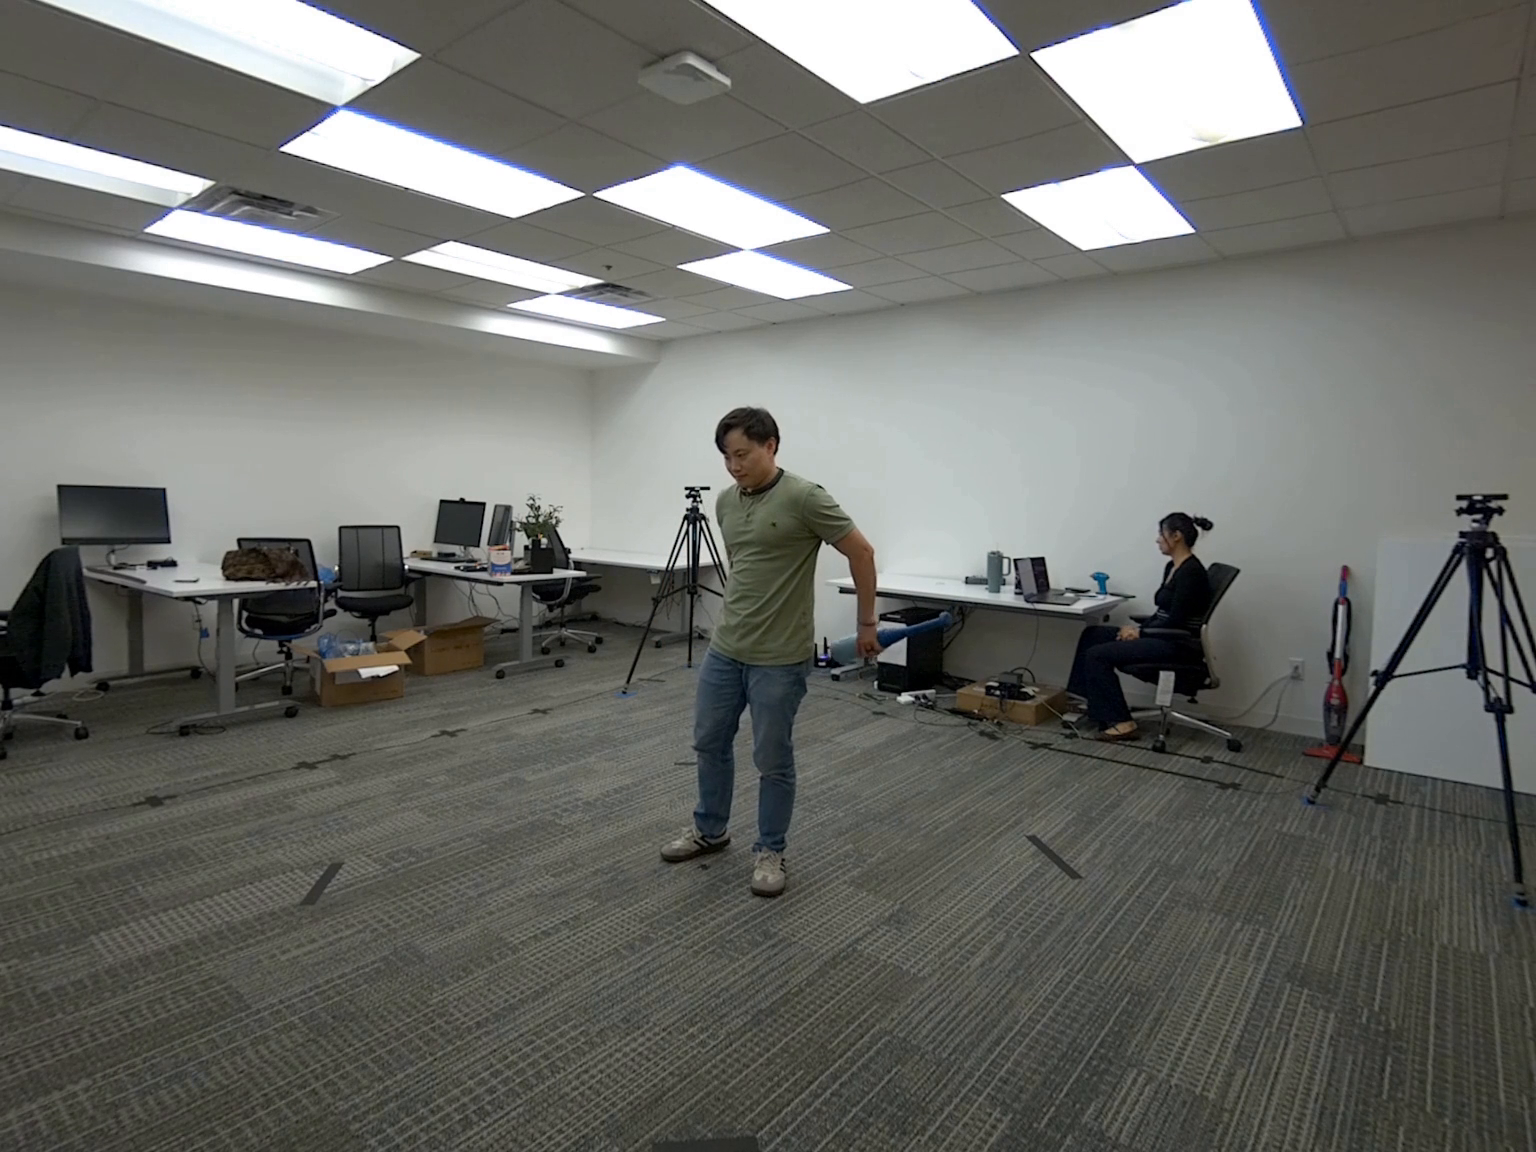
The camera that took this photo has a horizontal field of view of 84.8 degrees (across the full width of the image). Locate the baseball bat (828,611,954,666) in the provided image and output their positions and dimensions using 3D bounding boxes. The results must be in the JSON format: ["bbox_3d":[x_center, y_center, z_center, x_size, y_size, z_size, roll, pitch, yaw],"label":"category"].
[{"bbox_3d":[0.392,0.205,2.899,0.086,0.090,0.552,-2,-13,-36],"label":"baseball bat"}]
